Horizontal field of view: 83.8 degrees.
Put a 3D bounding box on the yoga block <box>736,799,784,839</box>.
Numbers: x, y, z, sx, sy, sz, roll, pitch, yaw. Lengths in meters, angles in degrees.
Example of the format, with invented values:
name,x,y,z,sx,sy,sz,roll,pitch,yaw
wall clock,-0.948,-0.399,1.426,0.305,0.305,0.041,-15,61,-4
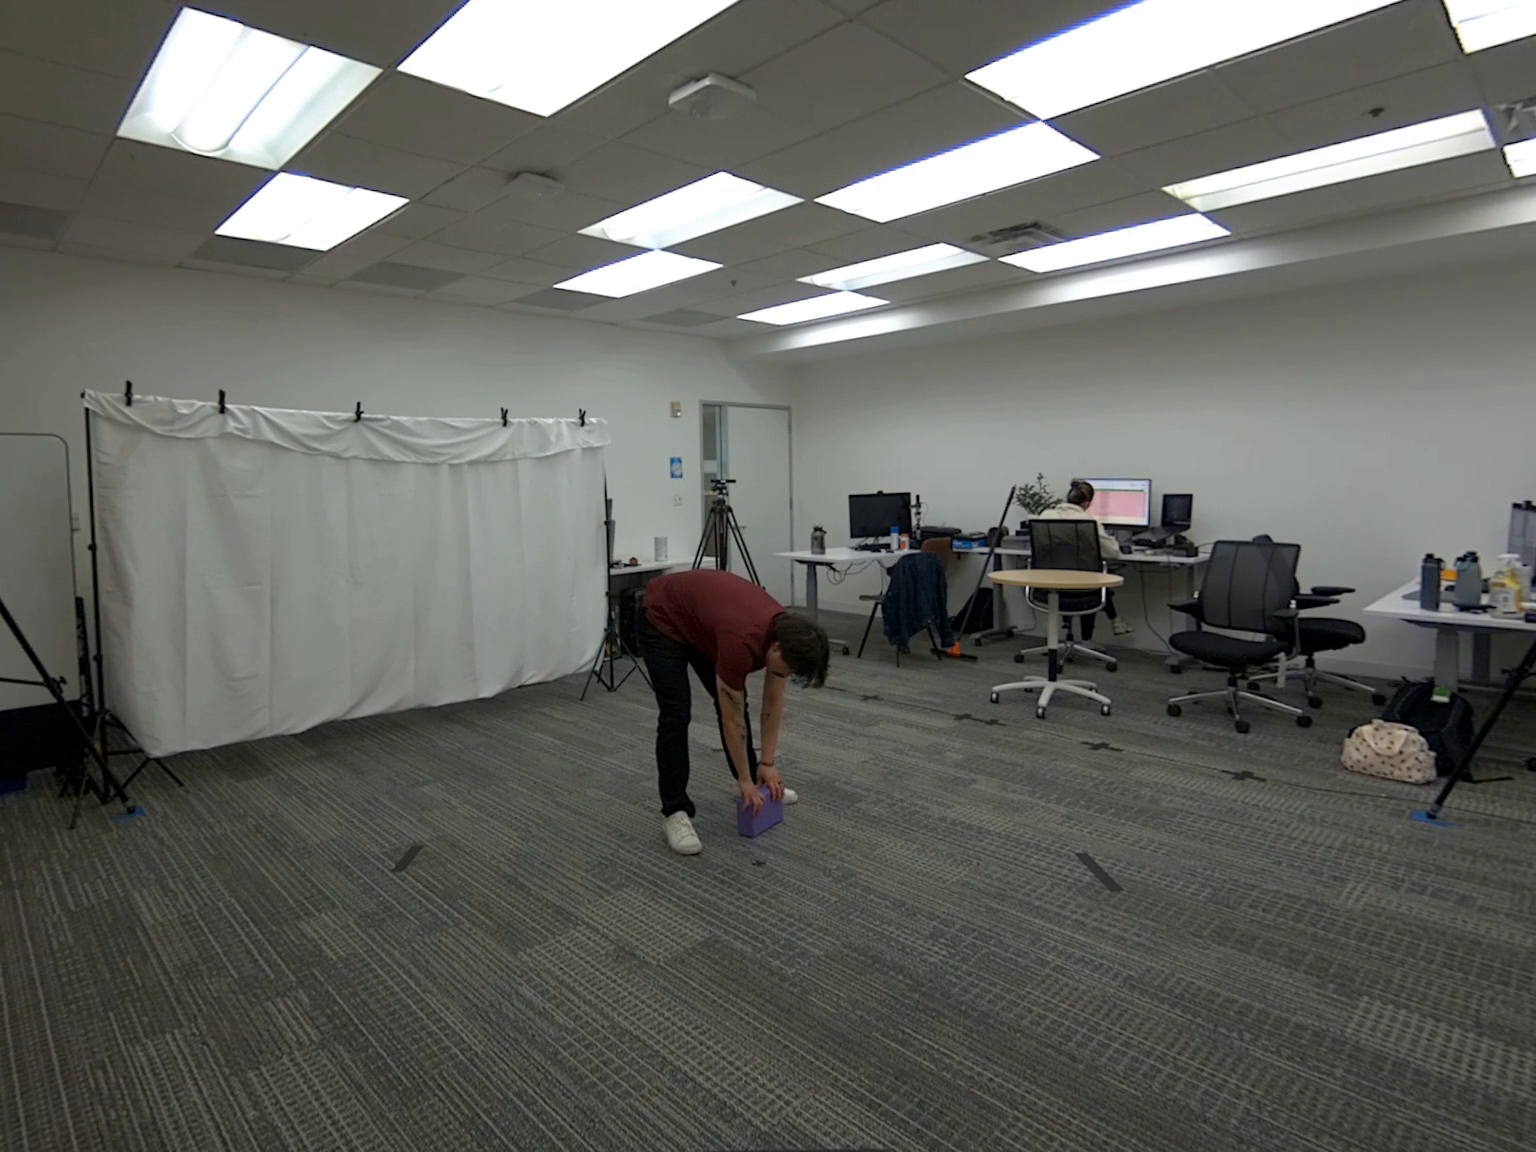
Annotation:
name,x,y,z,sx,sy,sz,roll,pitch,yaw
yoga block,-0.036,0.936,3.434,0.078,0.149,0.224,-5,2,34
